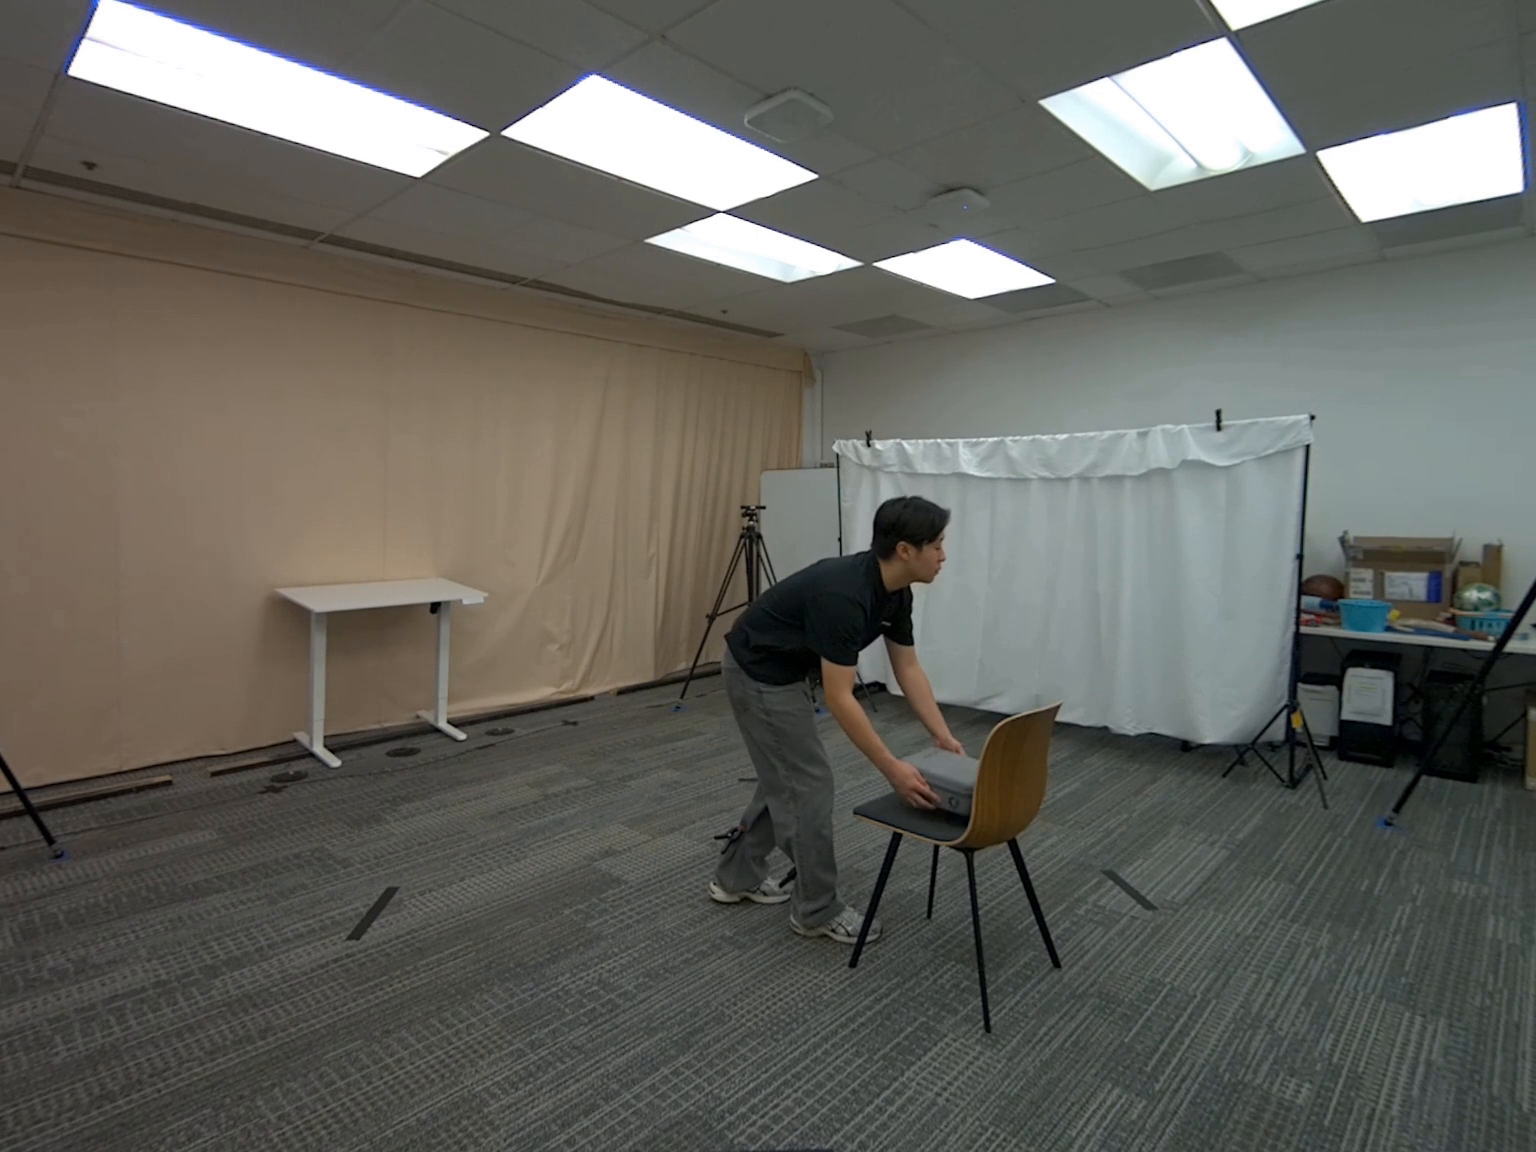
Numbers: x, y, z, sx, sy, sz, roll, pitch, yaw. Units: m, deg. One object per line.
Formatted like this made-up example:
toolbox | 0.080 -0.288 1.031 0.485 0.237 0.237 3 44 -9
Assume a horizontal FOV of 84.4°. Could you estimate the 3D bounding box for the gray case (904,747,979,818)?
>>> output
gray case | 0.559 0.611 2.514 0.297 0.103 0.255 10 8 37
